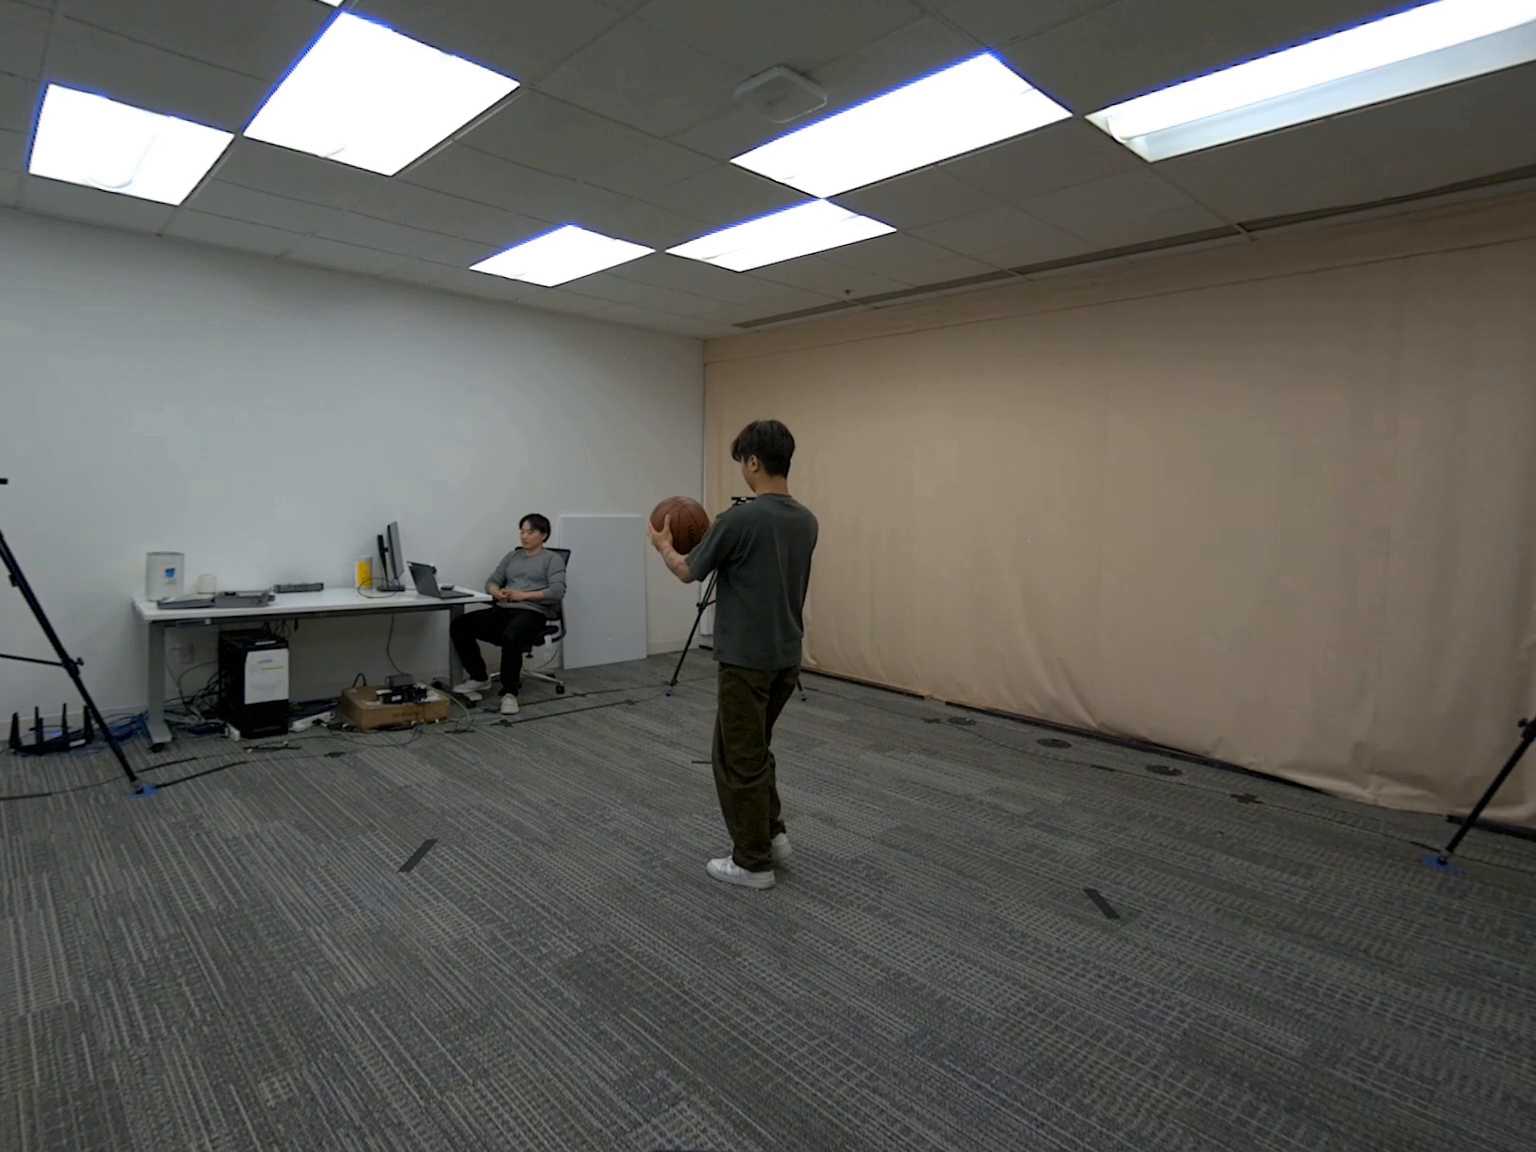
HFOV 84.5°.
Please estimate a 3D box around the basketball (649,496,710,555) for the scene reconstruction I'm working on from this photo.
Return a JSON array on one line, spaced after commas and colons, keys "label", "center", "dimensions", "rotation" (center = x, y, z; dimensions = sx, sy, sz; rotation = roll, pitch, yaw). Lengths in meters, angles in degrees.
[{"label": "basketball", "center": [-0.357, -0.193, 3.354], "dimensions": [0.236, 0.235, 0.237], "rotation": [1, 4, -1]}]
